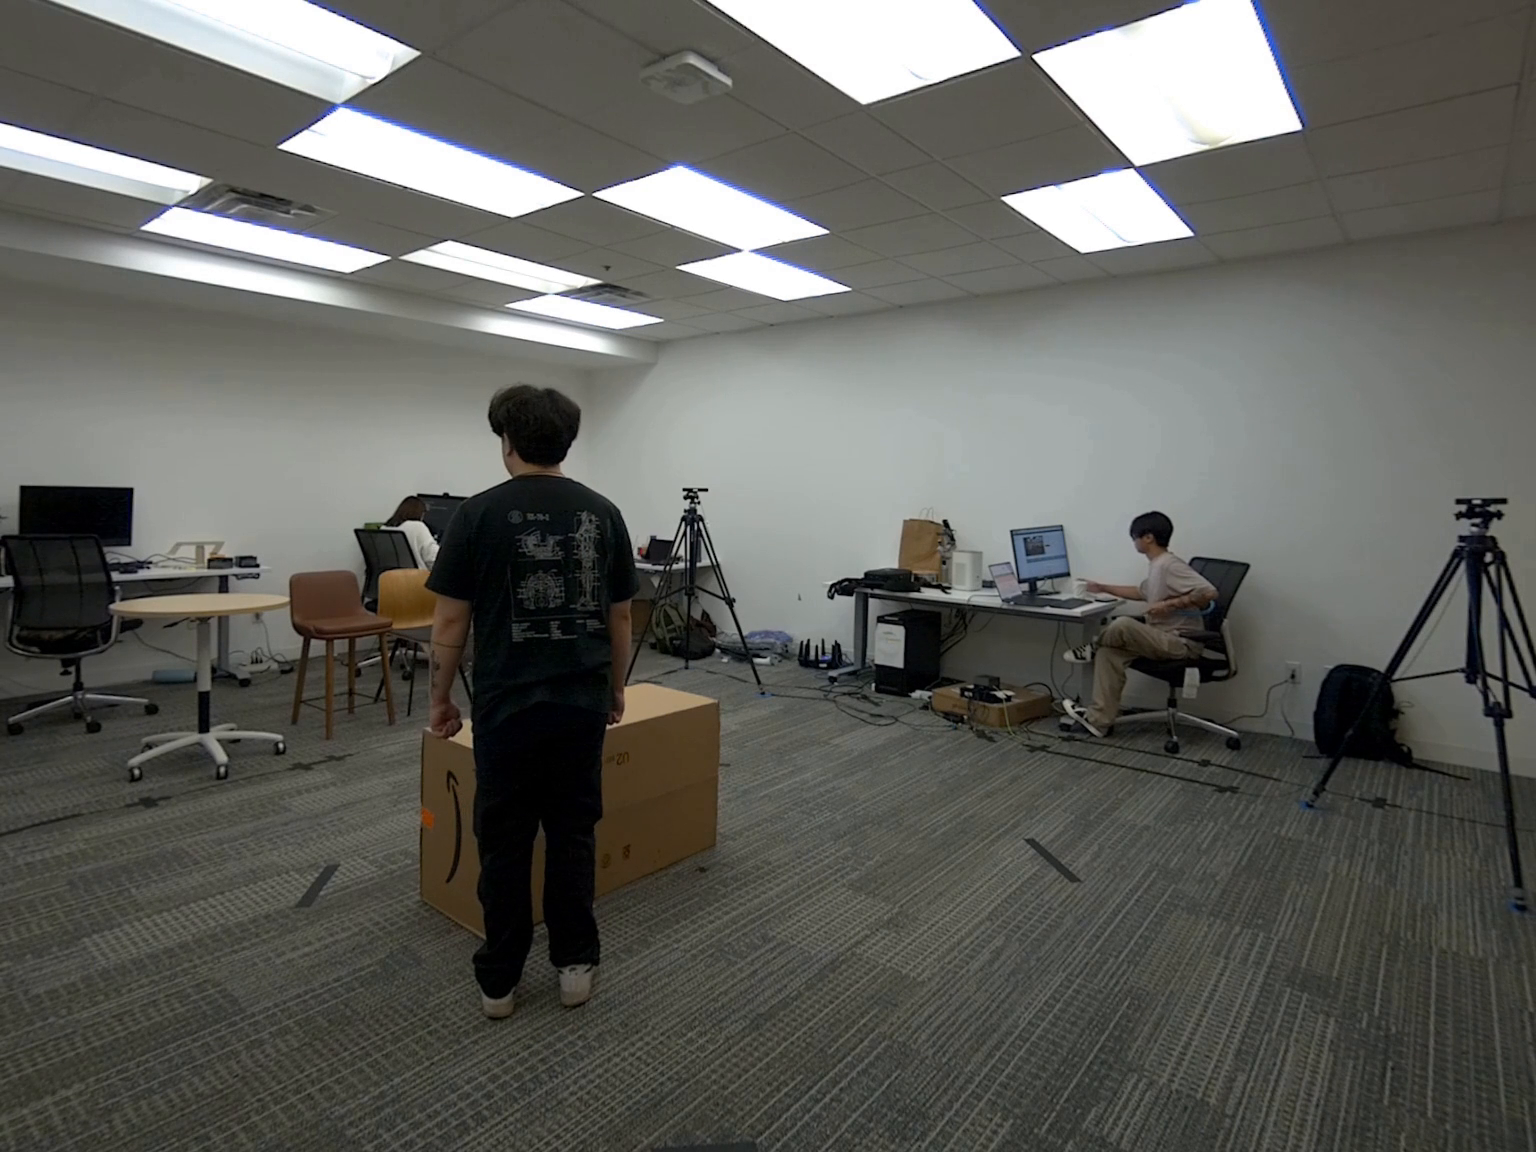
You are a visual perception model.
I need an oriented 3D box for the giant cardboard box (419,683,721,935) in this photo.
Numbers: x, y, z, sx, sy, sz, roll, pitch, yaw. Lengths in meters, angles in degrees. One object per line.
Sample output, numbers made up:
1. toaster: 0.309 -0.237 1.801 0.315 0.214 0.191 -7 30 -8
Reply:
1. giant cardboard box: -0.686 0.781 3.073 0.461 0.582 0.996 3 4 40
